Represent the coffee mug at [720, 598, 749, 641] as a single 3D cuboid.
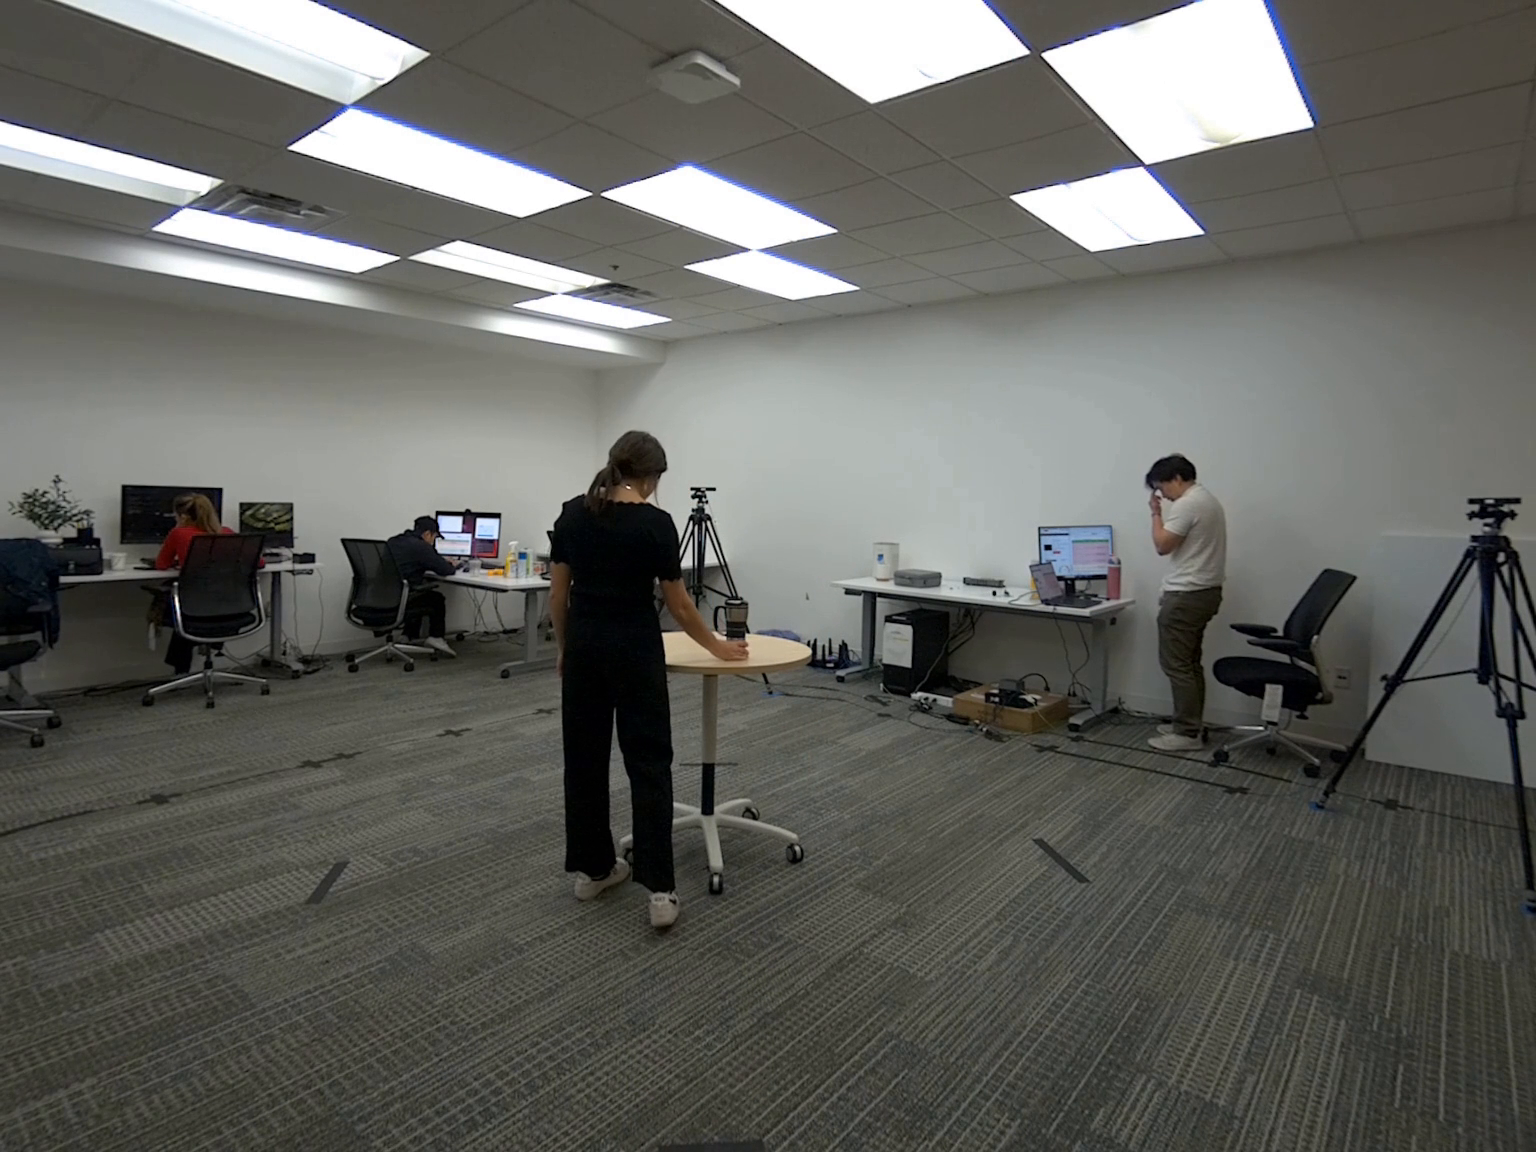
[{"bbox_3d":[-0.147,0.186,3.062,0.126,0.201,0.086,6,9,31],"label":"coffee mug"}]
